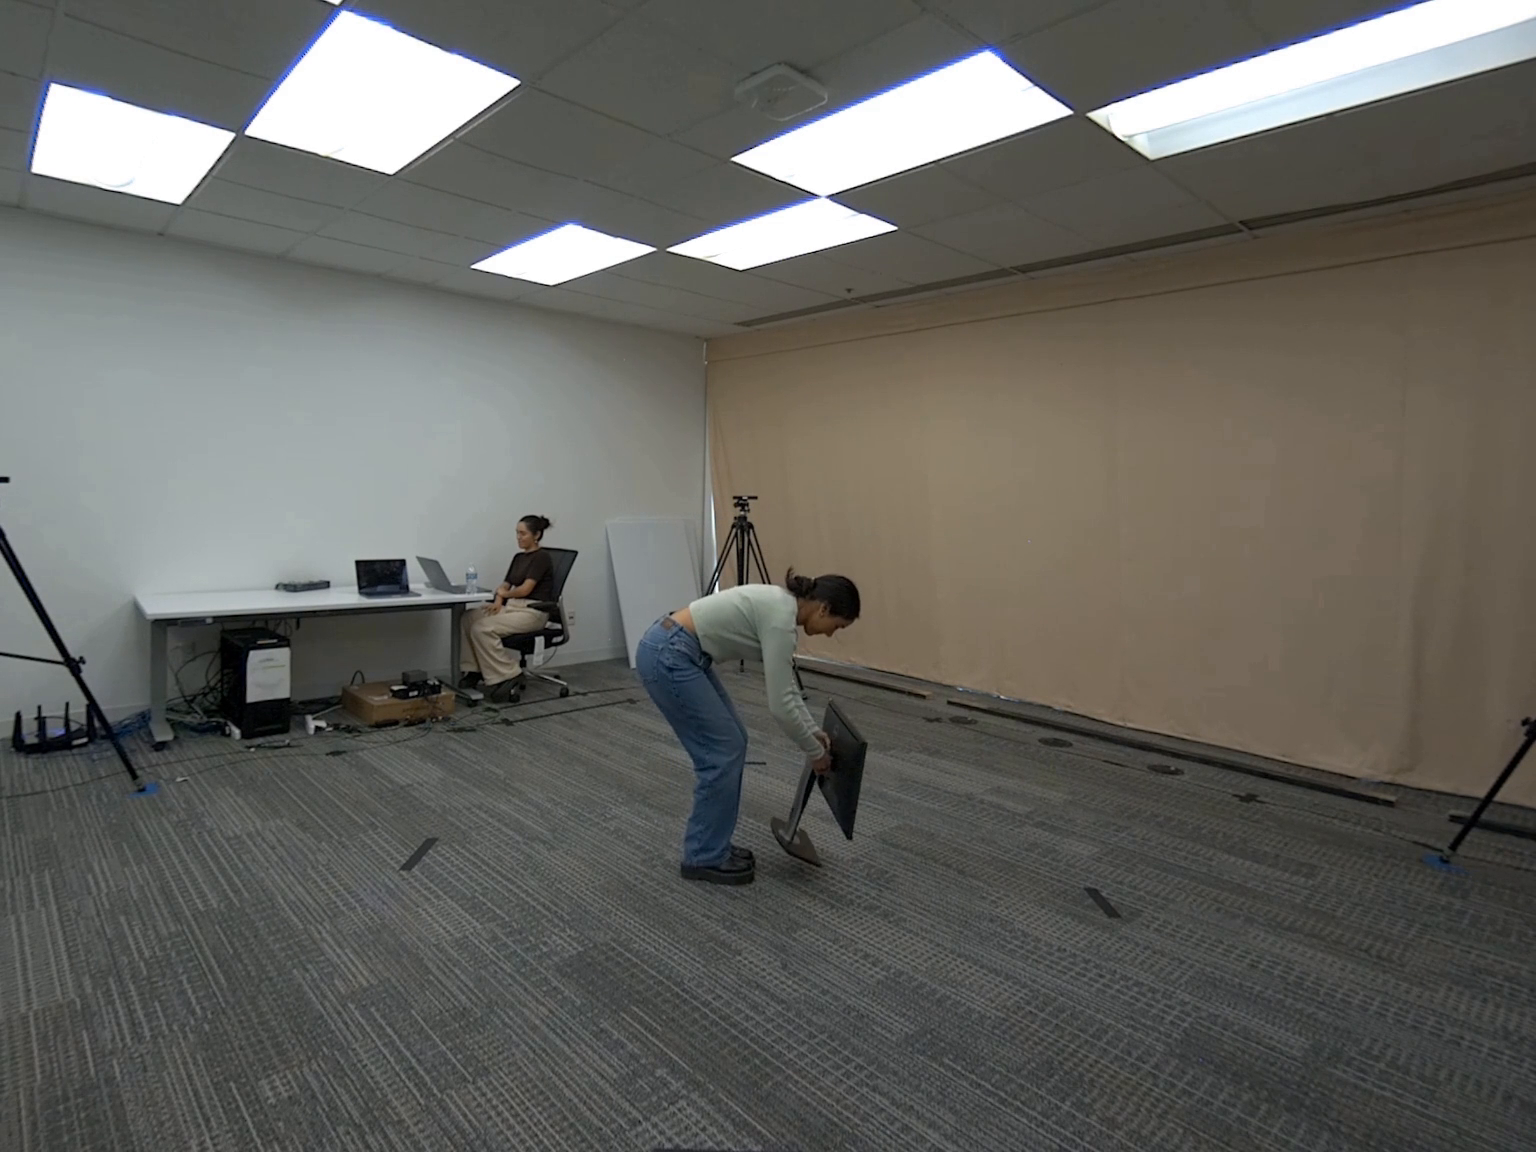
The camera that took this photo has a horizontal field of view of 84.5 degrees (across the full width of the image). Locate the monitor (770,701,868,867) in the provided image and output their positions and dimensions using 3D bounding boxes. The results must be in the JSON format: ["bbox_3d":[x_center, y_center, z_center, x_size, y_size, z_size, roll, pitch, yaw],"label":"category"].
[{"bbox_3d":[0.184,0.764,3.126,0.173,0.515,0.536,26,3,-12],"label":"monitor"}]
